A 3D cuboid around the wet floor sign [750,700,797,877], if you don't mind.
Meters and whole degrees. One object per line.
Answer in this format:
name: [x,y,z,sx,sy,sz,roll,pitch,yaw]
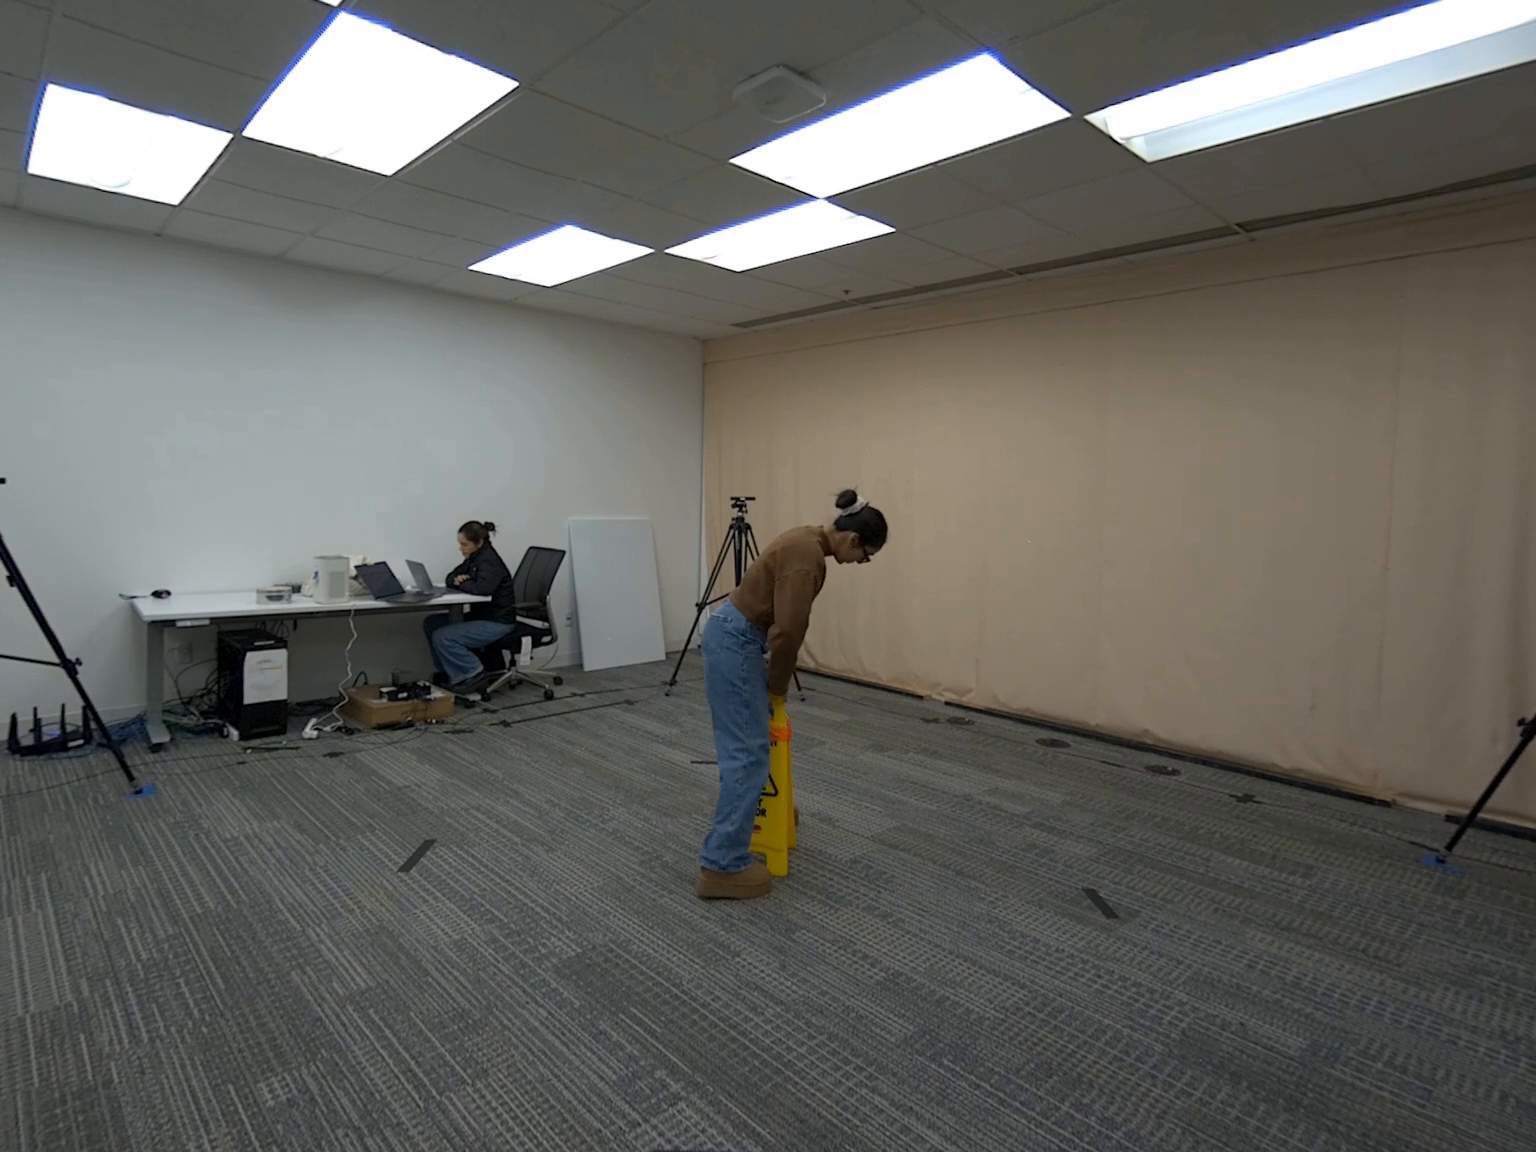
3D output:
wet floor sign: [-0.041,0.776,3.257,0.285,0.645,0.288,4,3,9]
